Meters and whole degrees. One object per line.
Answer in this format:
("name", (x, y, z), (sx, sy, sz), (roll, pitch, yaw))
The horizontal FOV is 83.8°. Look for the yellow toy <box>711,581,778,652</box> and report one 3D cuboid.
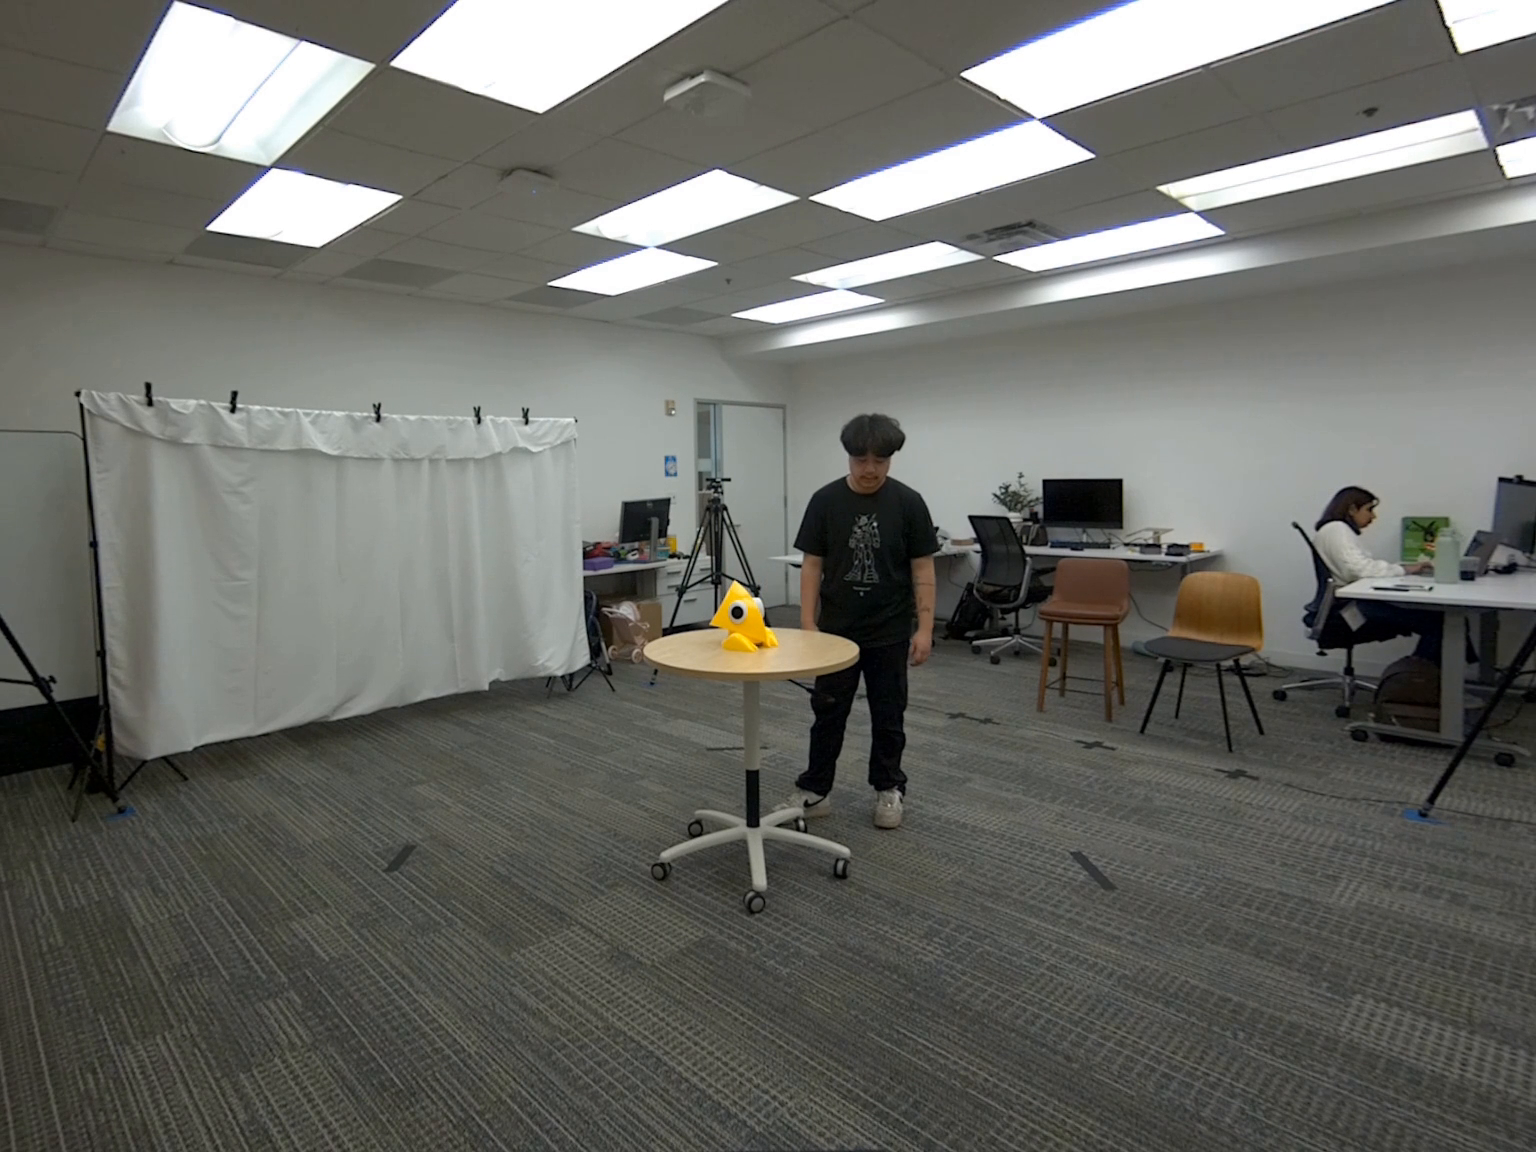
("yellow toy", (-0.068, 0.138, 3.073), (0.199, 0.230, 0.199), (5, 7, 43))
